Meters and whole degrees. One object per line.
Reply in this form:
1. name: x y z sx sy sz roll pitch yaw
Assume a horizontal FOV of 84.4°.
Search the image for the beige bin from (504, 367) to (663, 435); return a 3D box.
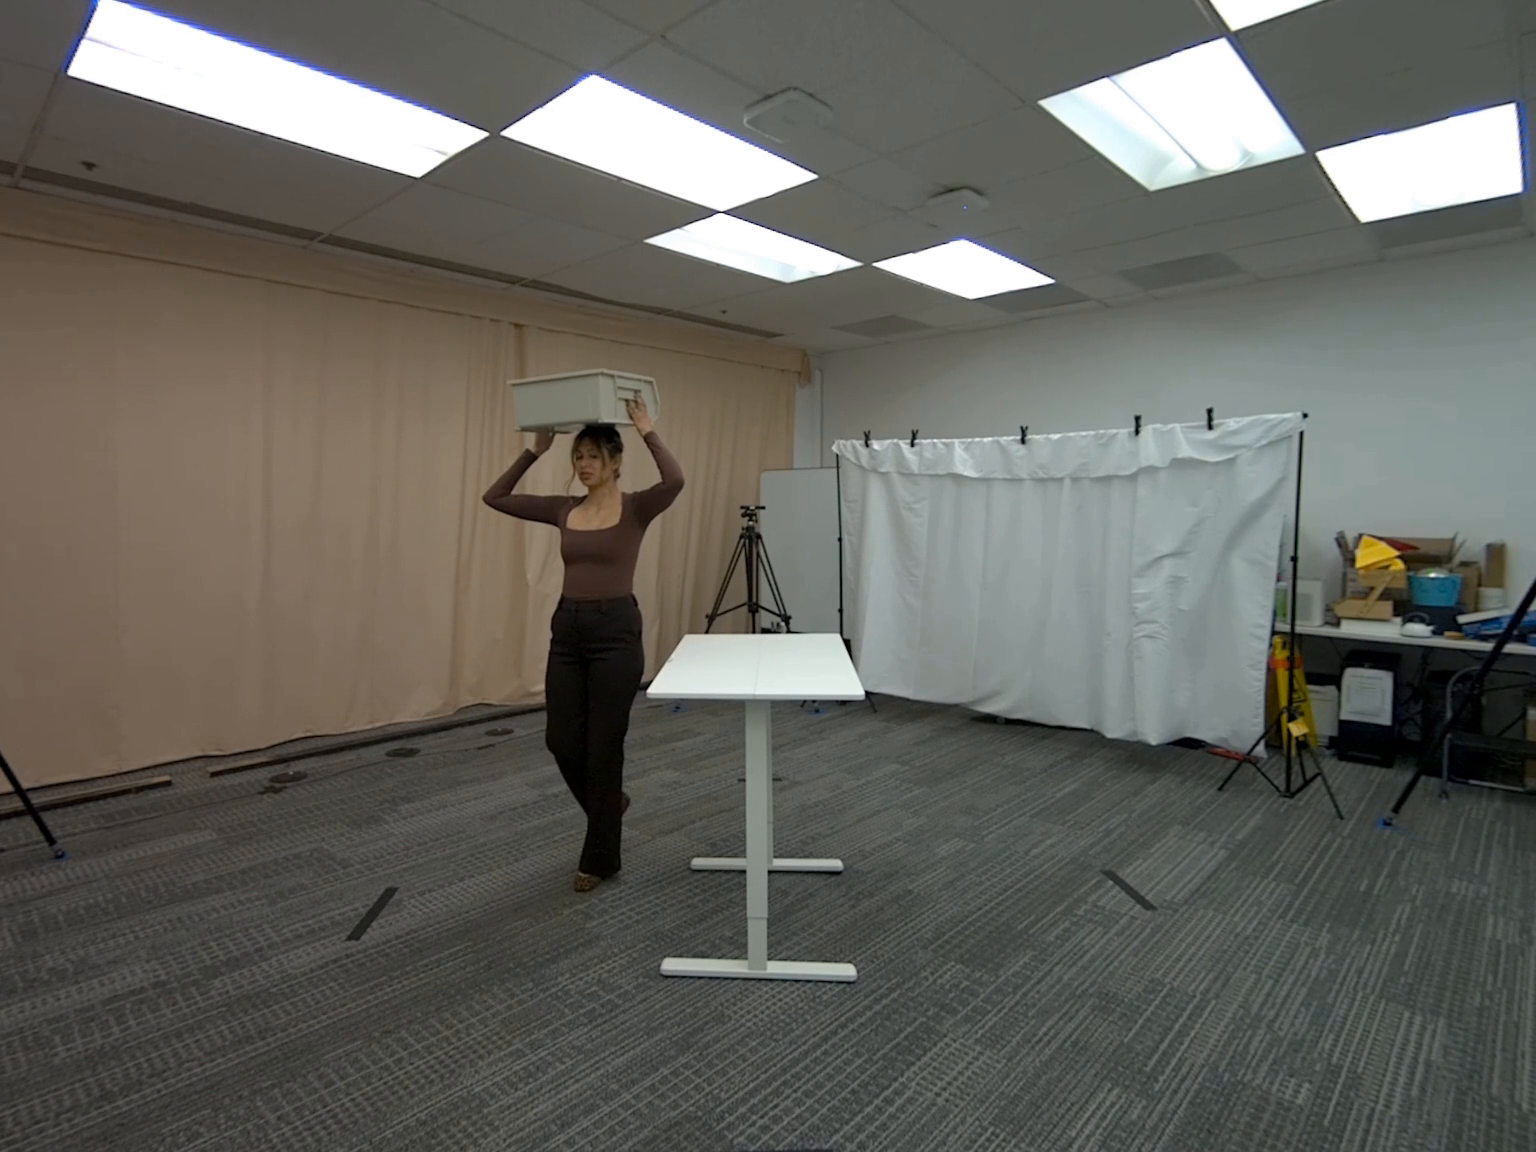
1. beige bin: -0.674 -0.636 3.120 0.433 0.188 0.369 1 7 26
